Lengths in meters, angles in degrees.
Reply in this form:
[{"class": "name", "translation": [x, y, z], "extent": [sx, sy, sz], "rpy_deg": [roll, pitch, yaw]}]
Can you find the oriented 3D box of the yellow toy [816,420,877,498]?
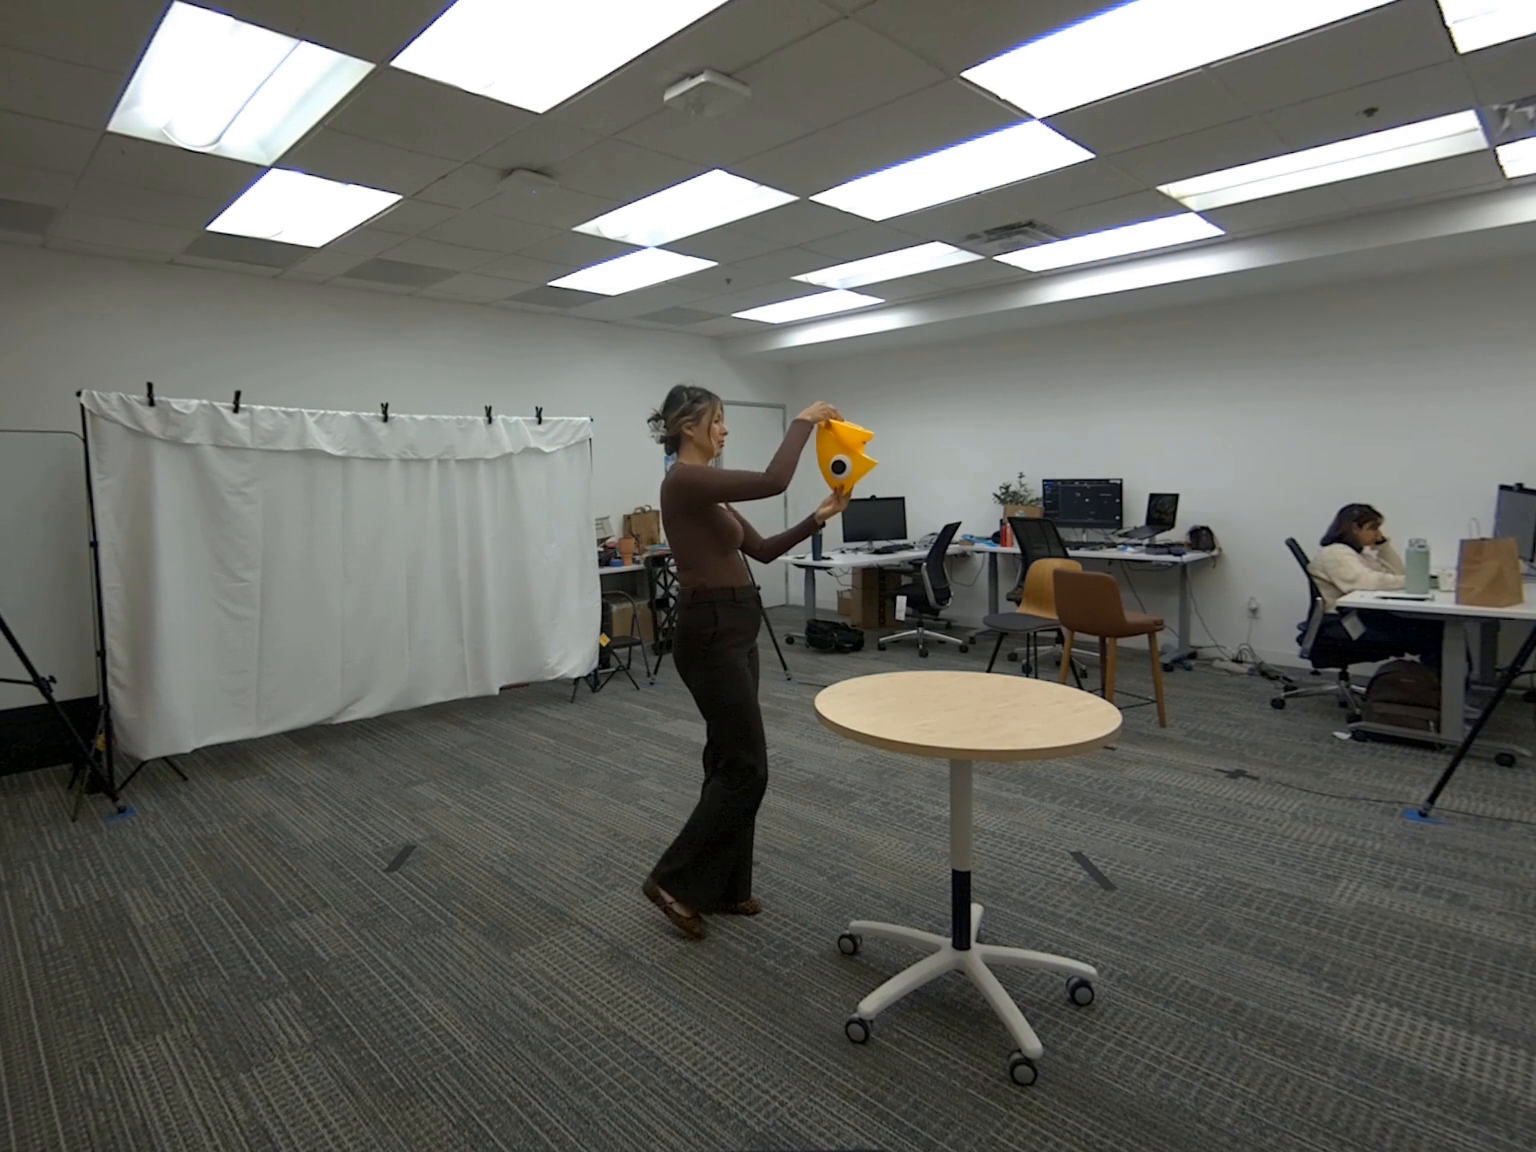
[{"class": "yellow toy", "translation": [0.210, -0.359, 2.647], "extent": [0.189, 0.229, 0.211], "rpy_deg": [13, 15, -20]}]
